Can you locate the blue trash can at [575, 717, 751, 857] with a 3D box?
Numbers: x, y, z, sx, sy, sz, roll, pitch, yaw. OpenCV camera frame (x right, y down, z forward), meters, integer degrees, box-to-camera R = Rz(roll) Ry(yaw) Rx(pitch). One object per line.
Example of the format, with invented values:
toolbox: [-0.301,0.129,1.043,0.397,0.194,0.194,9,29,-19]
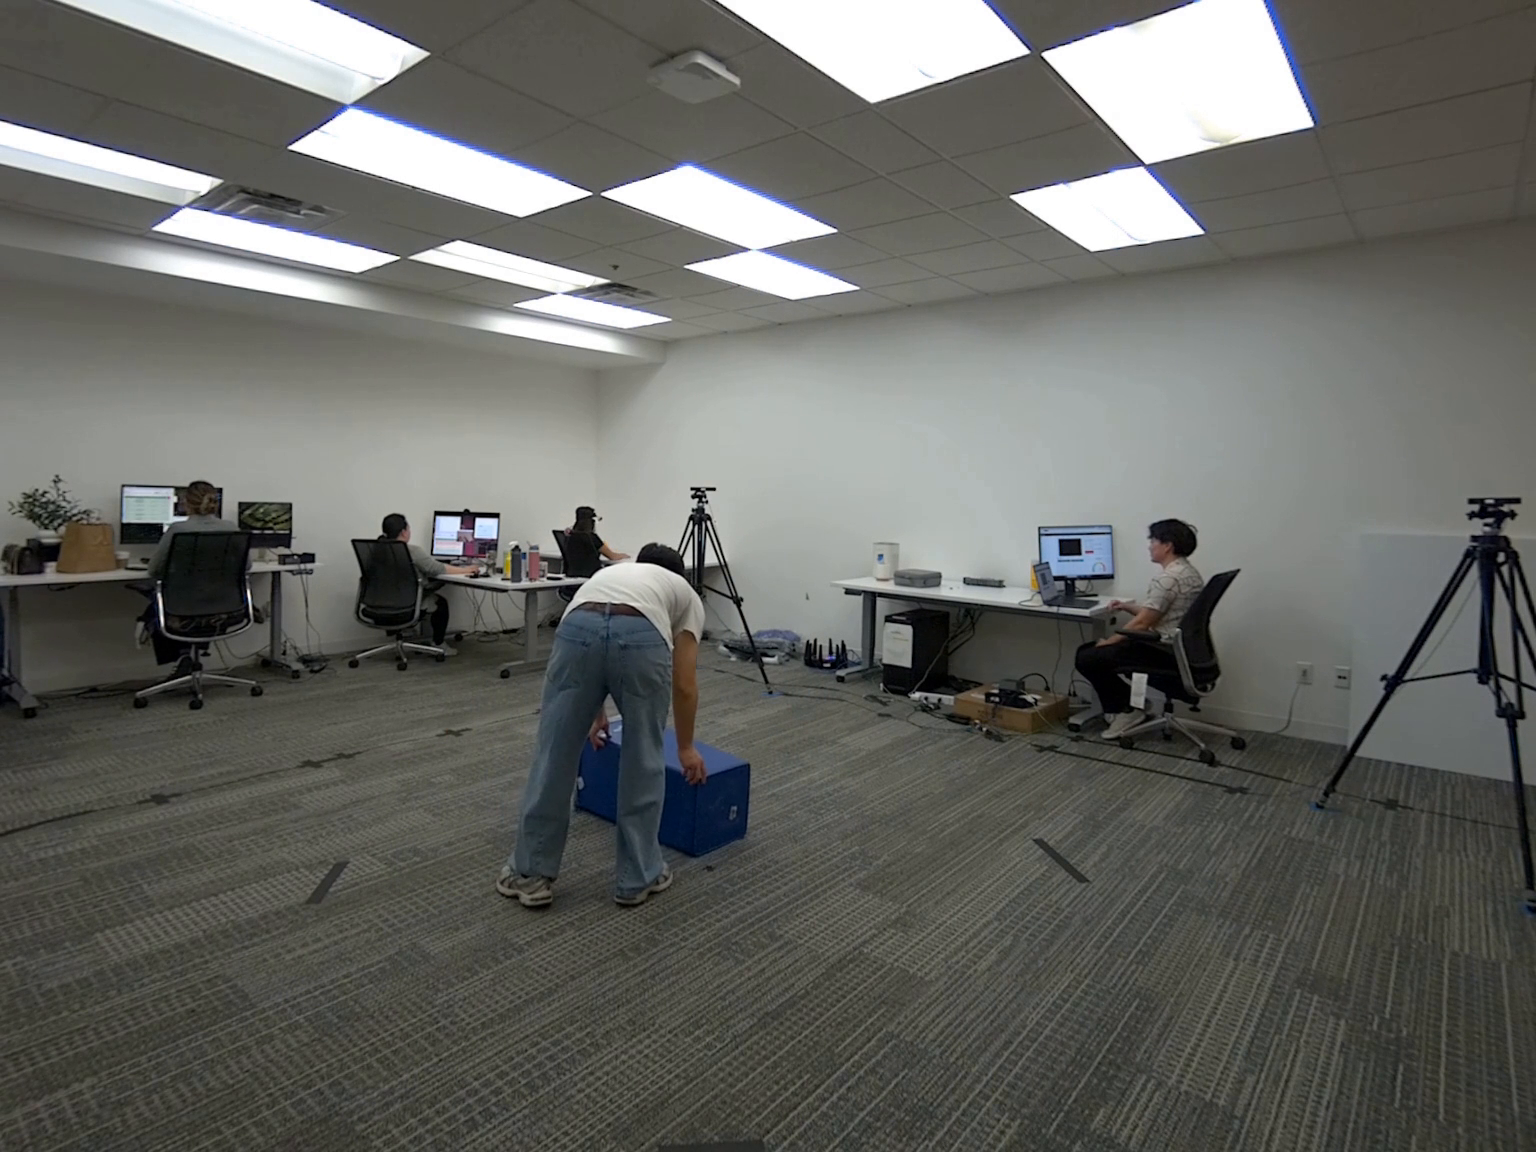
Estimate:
blue trash can: [-0.454,0.856,3.528,0.739,0.376,0.362,9,7,41]
